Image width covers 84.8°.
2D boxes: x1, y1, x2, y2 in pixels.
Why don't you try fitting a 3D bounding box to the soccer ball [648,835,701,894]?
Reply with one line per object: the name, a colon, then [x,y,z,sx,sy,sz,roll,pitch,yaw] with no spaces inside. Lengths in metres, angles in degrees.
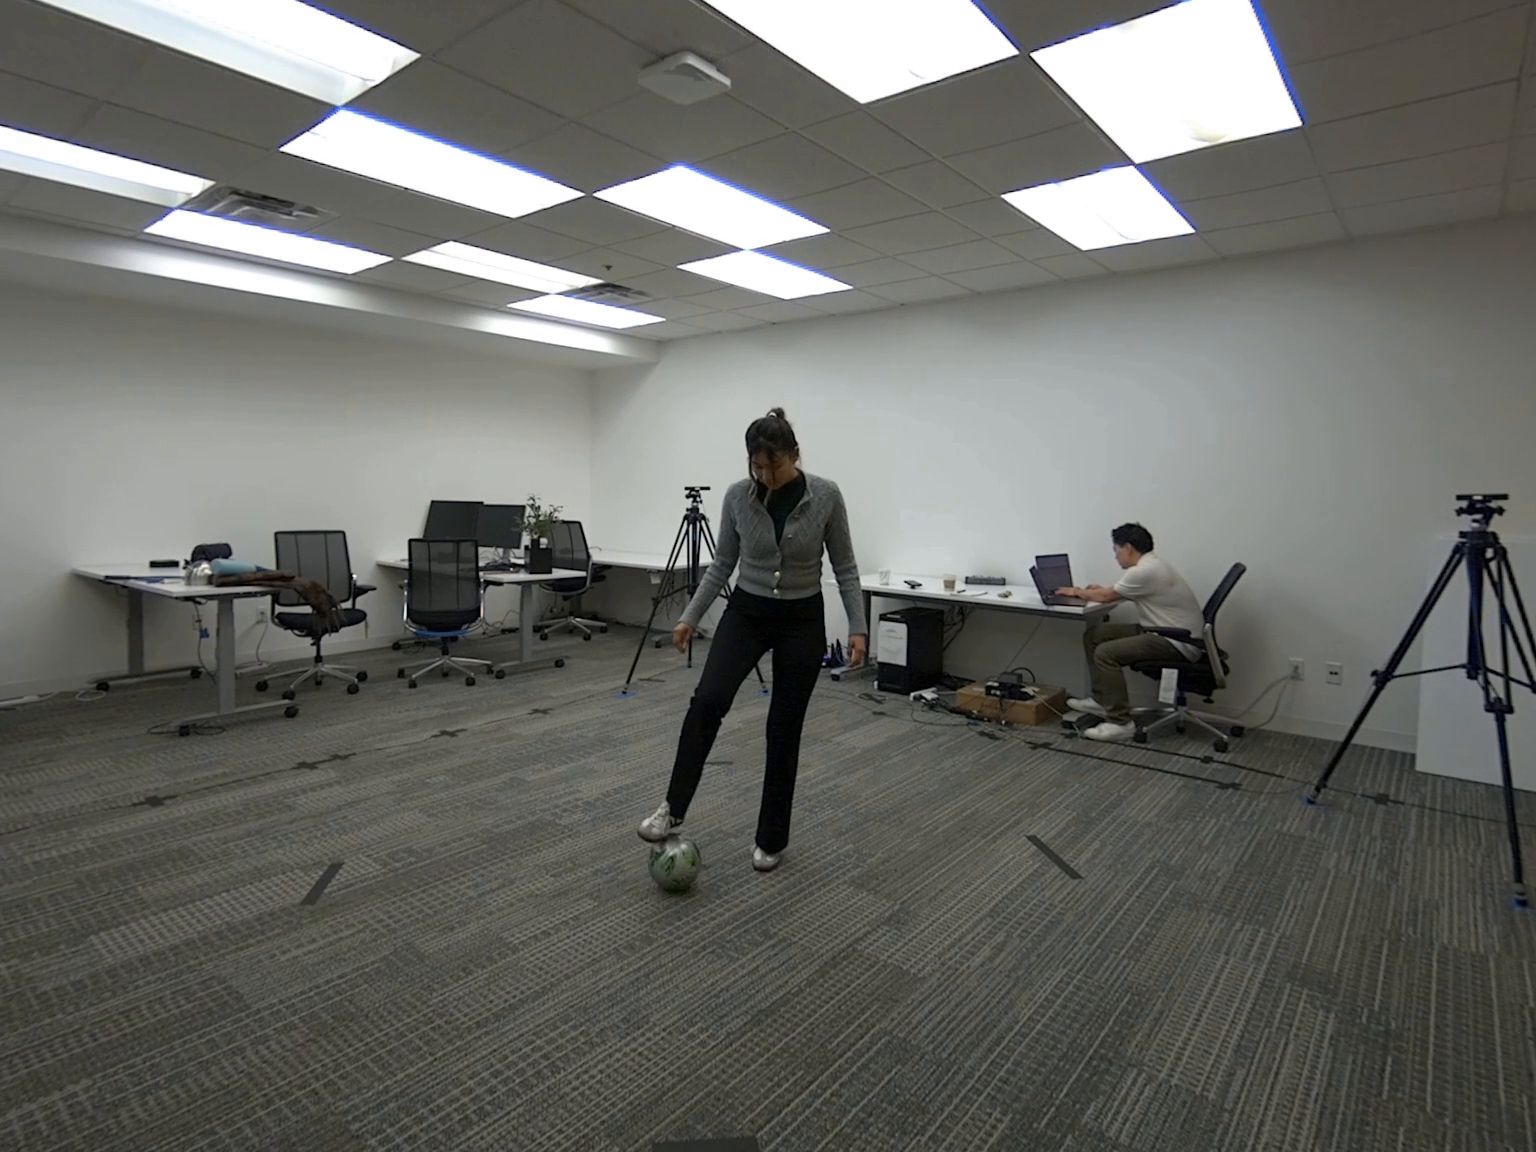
soccer ball: [-0.314,0.986,2.948,0.187,0.187,0.188,1,4,-2]
